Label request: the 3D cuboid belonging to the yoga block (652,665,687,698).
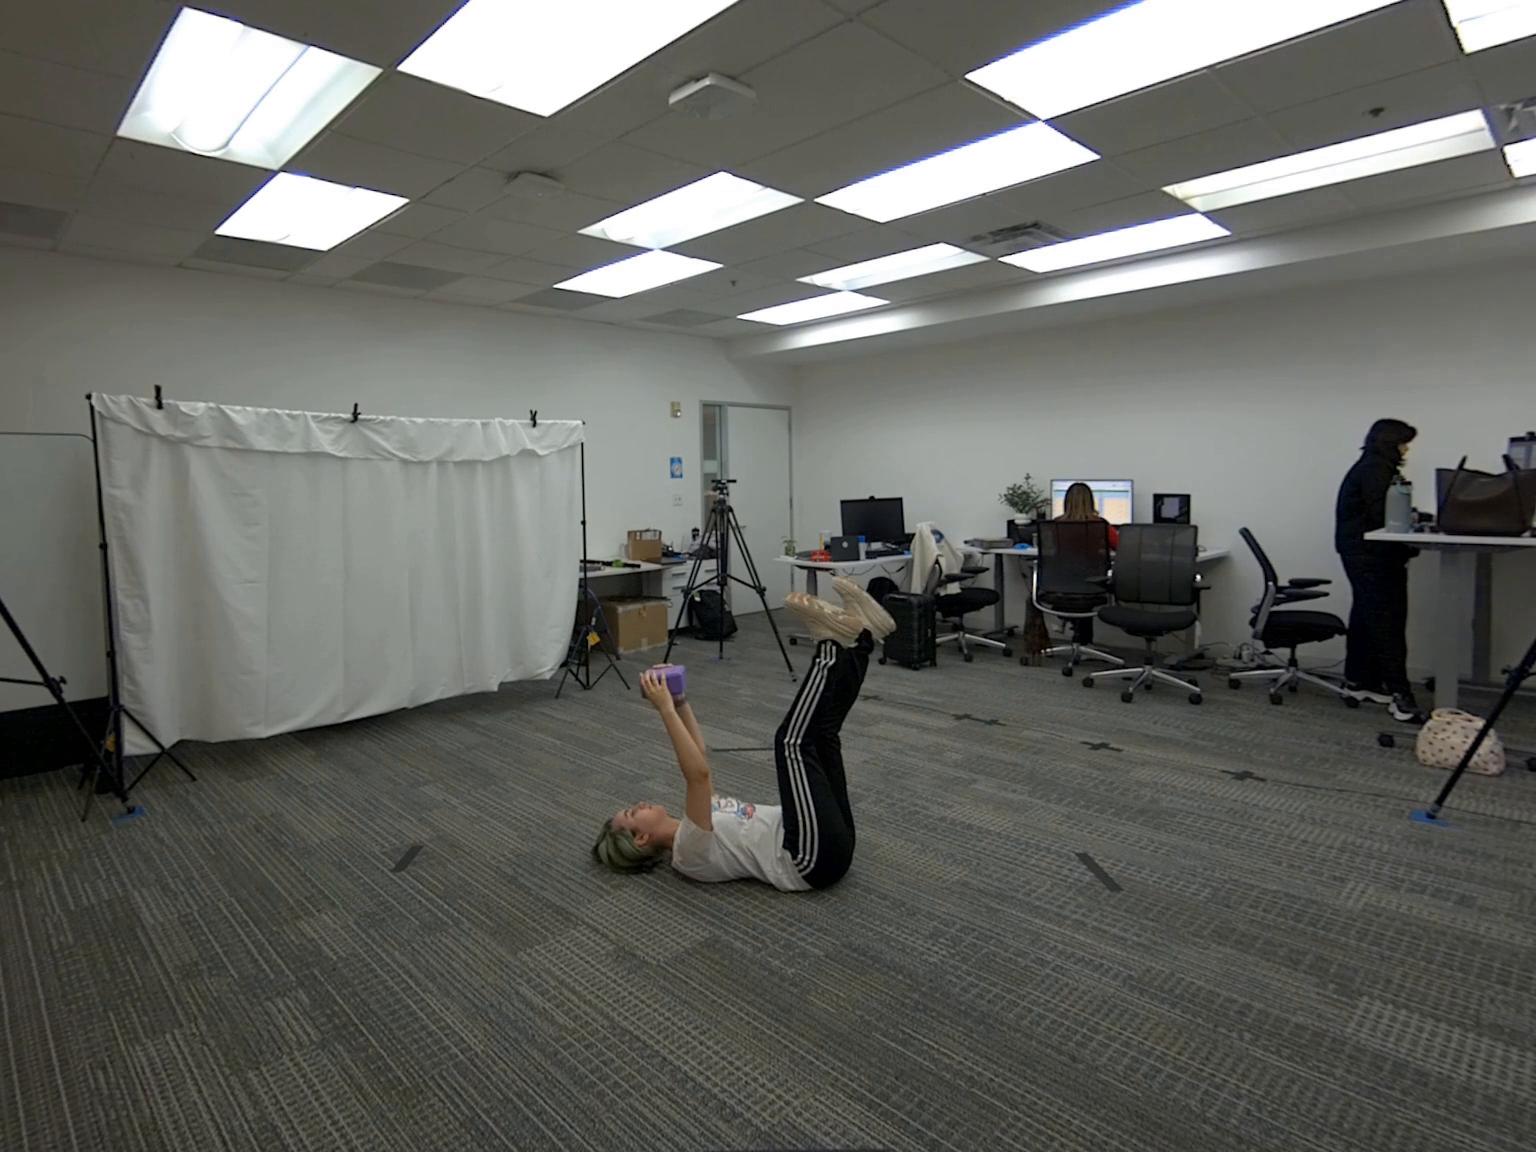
[{"bbox_3d":[-0.373,0.382,3.115,0.149,0.076,0.229,-7,2,0],"label":"yoga block"}]
